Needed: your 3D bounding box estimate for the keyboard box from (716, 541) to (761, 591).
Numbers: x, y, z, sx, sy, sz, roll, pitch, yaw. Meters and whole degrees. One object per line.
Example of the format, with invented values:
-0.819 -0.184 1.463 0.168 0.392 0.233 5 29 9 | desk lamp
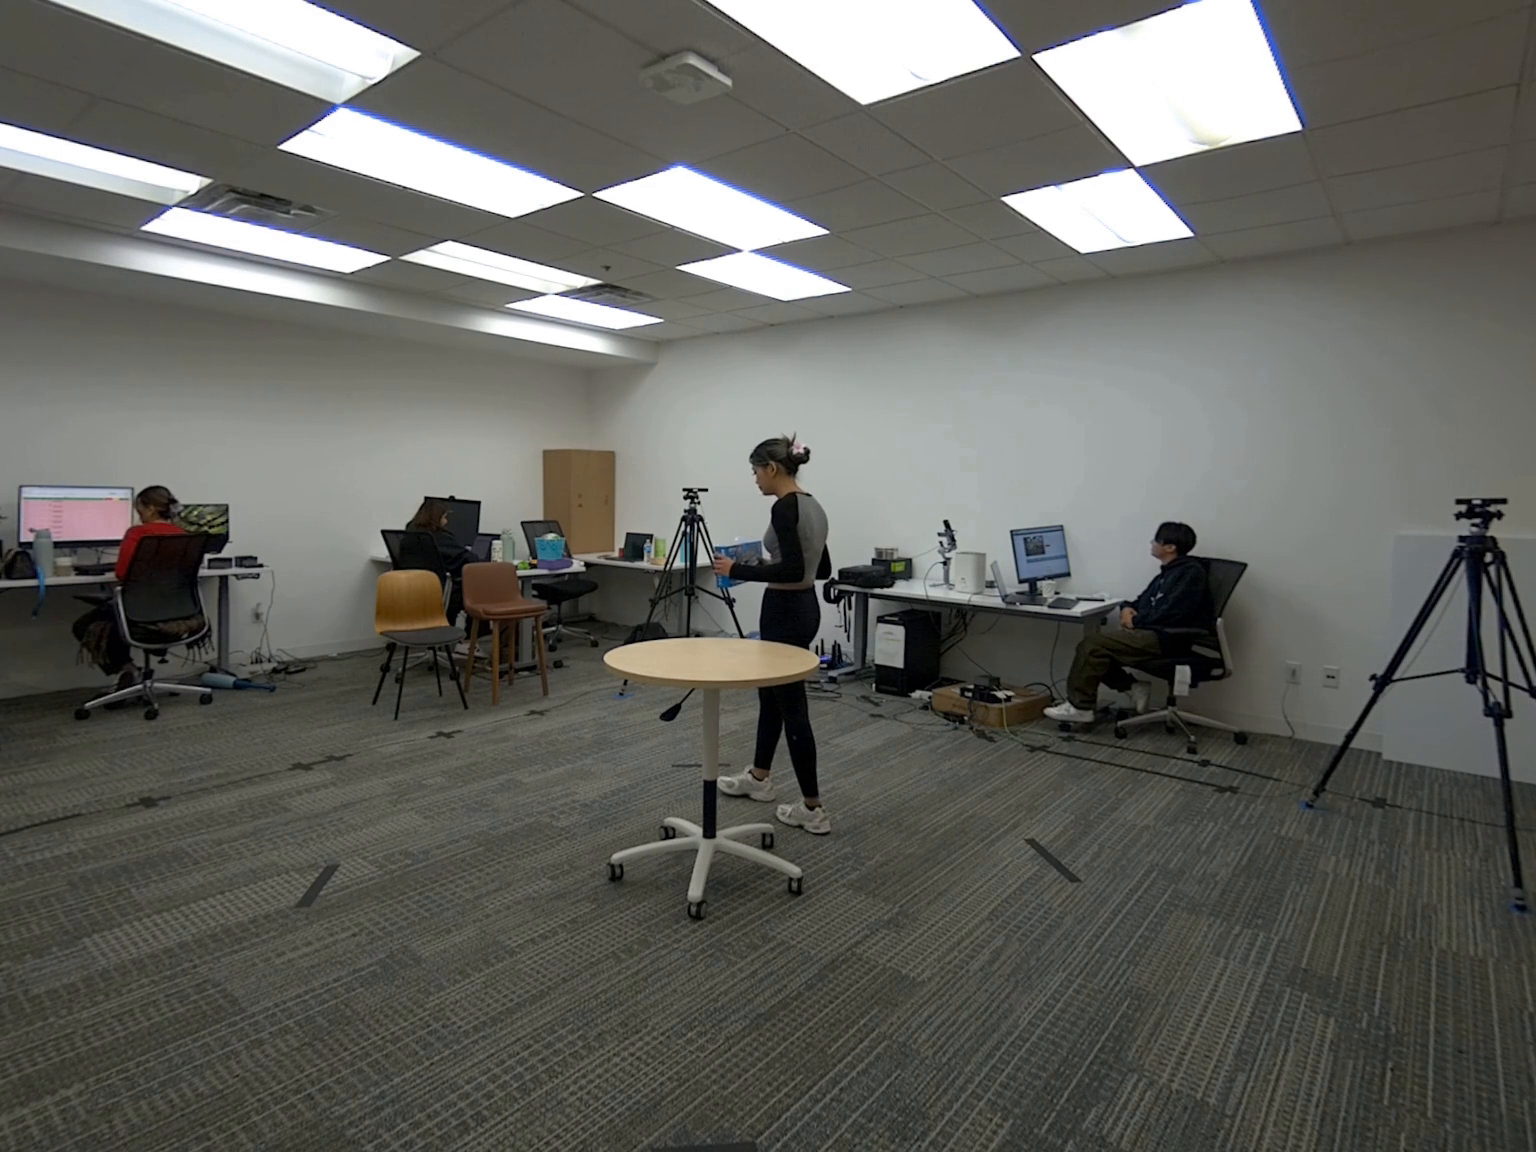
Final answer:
-0.131 -0.061 3.725 0.060 0.175 0.428 -3 5 22 | keyboard box
